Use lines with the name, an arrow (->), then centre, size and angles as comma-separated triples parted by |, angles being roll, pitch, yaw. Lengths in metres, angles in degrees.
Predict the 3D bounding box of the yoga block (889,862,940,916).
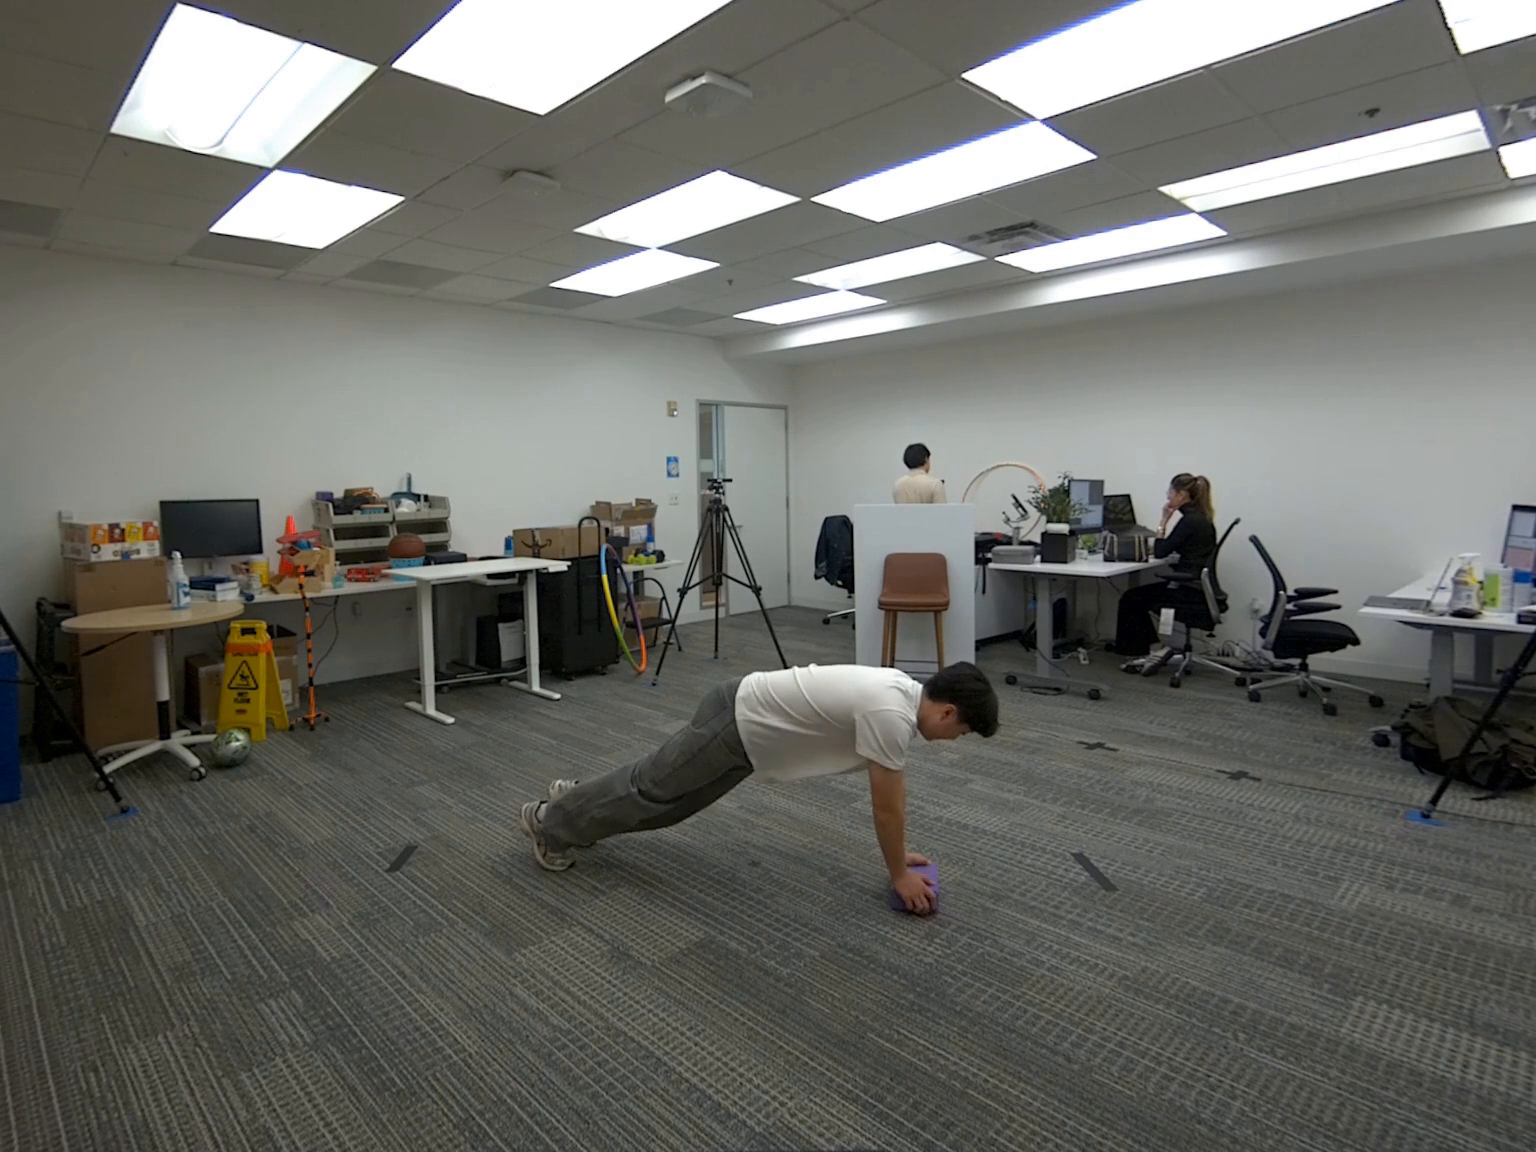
yoga block -> 0.485, 1.023, 2.840 | 0.151, 0.076, 0.227 | 1, 7, 12
